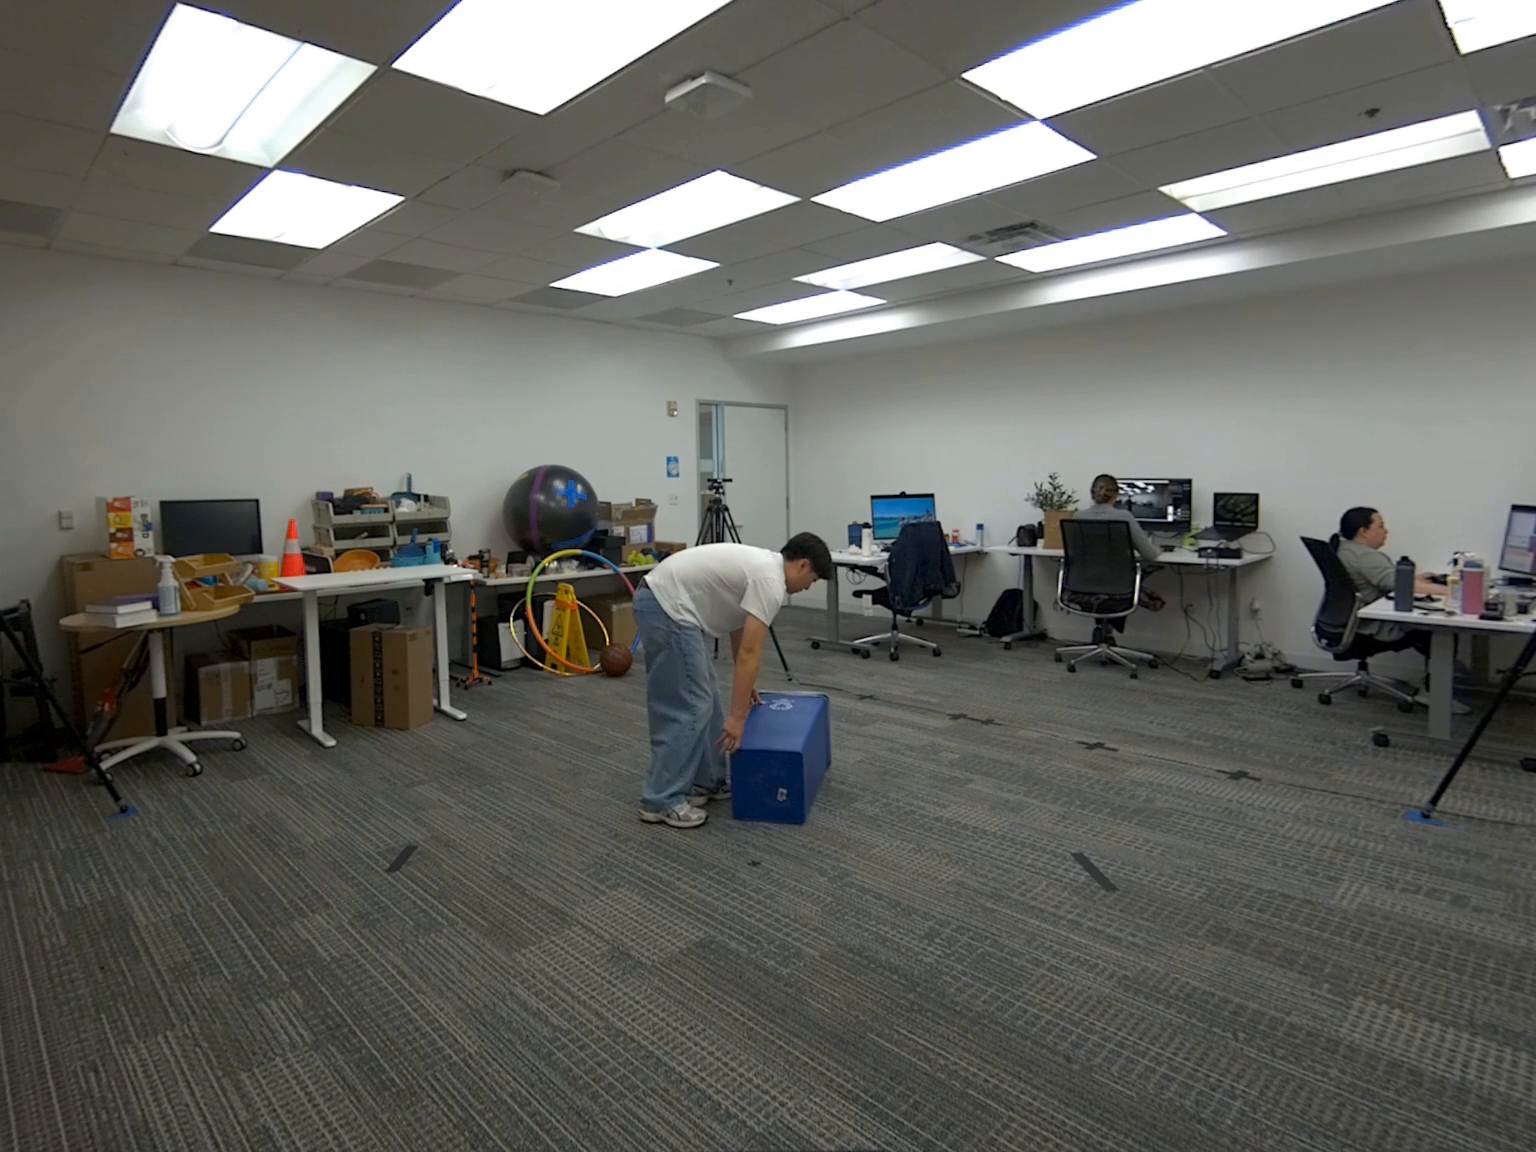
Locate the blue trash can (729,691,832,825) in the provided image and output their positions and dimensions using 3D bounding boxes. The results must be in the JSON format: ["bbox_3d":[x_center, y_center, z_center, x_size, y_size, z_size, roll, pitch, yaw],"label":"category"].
[{"bbox_3d":[0.070,0.797,3.802,0.378,0.375,0.710,0,8,11],"label":"blue trash can"}]
